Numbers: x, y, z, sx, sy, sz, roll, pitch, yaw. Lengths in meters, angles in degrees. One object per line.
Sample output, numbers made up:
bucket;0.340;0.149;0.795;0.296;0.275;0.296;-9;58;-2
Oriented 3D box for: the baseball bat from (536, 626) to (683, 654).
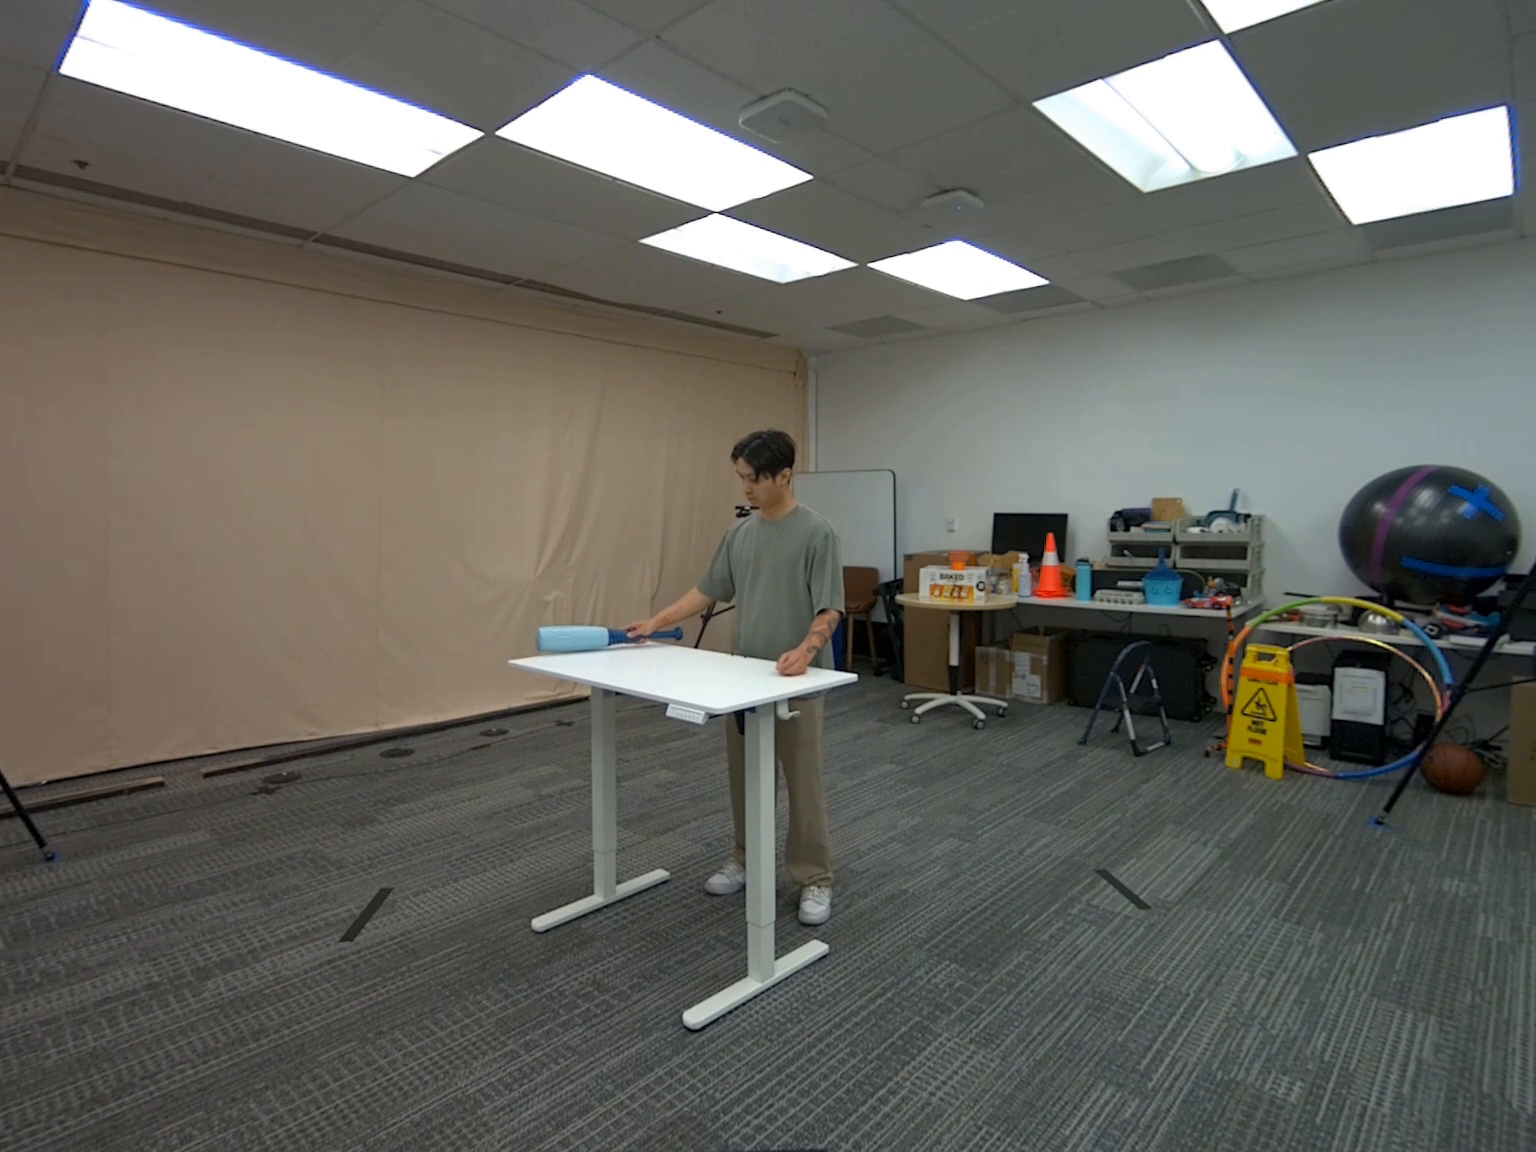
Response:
baseball bat;-0.561;0.228;3.029;0.531;0.089;0.091;1;3;-21
